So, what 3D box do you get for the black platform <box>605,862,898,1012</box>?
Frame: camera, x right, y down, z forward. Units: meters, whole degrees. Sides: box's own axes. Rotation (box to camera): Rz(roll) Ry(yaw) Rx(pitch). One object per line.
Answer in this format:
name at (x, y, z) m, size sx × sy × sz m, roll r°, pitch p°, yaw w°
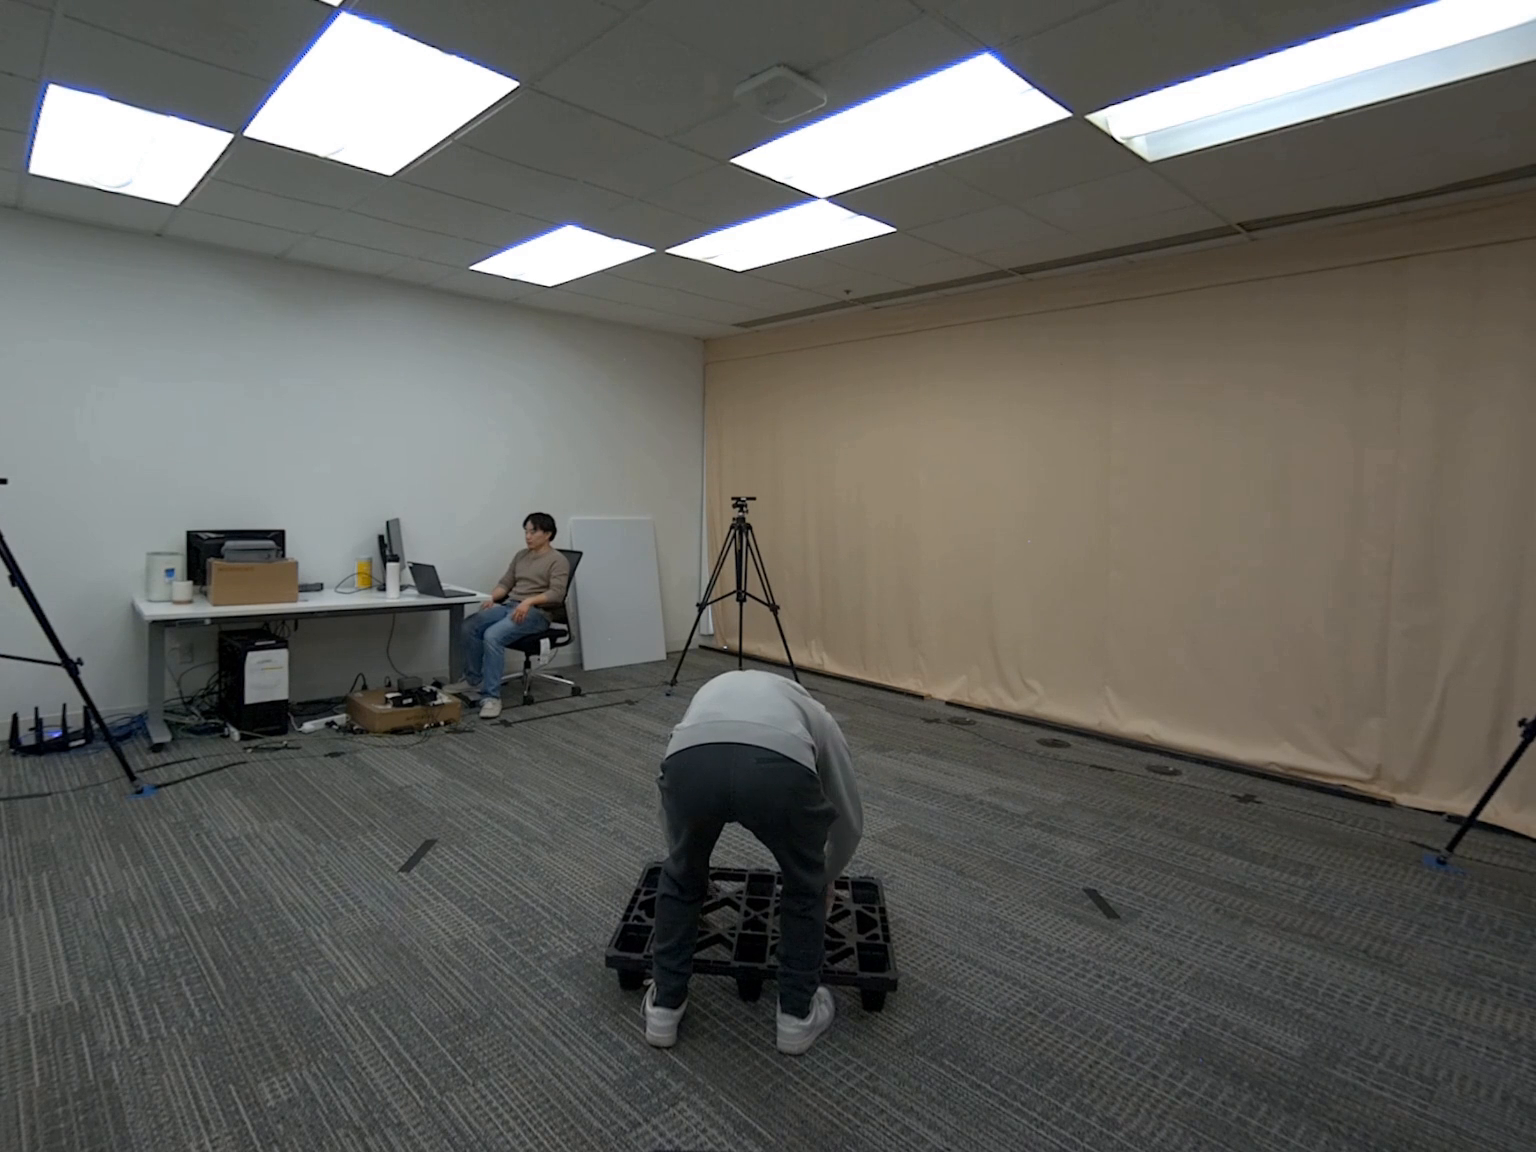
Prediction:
black platform at (-0.041, 1.092, 2.560) m, size 0.809 × 0.143 × 0.605 m, roll 2°, pitch 6°, yaw 5°
